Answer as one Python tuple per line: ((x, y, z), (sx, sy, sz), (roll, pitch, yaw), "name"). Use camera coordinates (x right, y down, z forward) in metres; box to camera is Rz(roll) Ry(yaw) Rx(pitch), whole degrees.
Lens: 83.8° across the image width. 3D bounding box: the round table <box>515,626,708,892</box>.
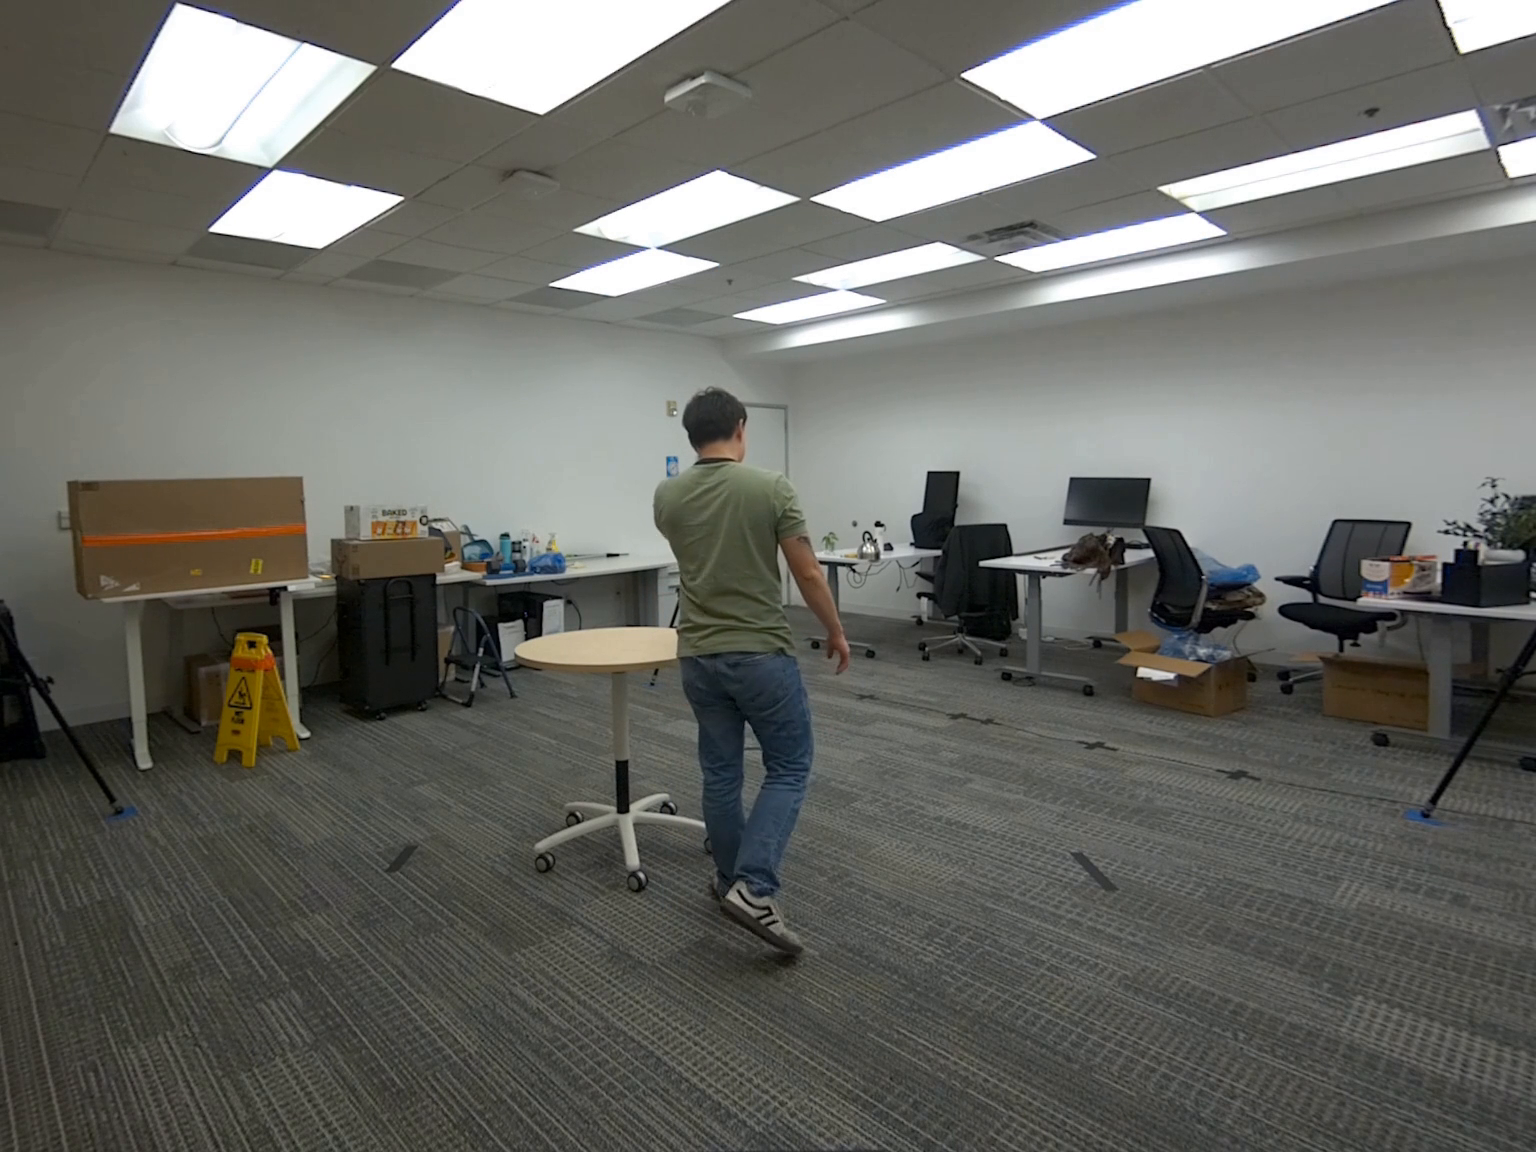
((-0.554, 0.649, 3.240), (0.763, 0.791, 0.767), (-2, 4, -2), "round table")
